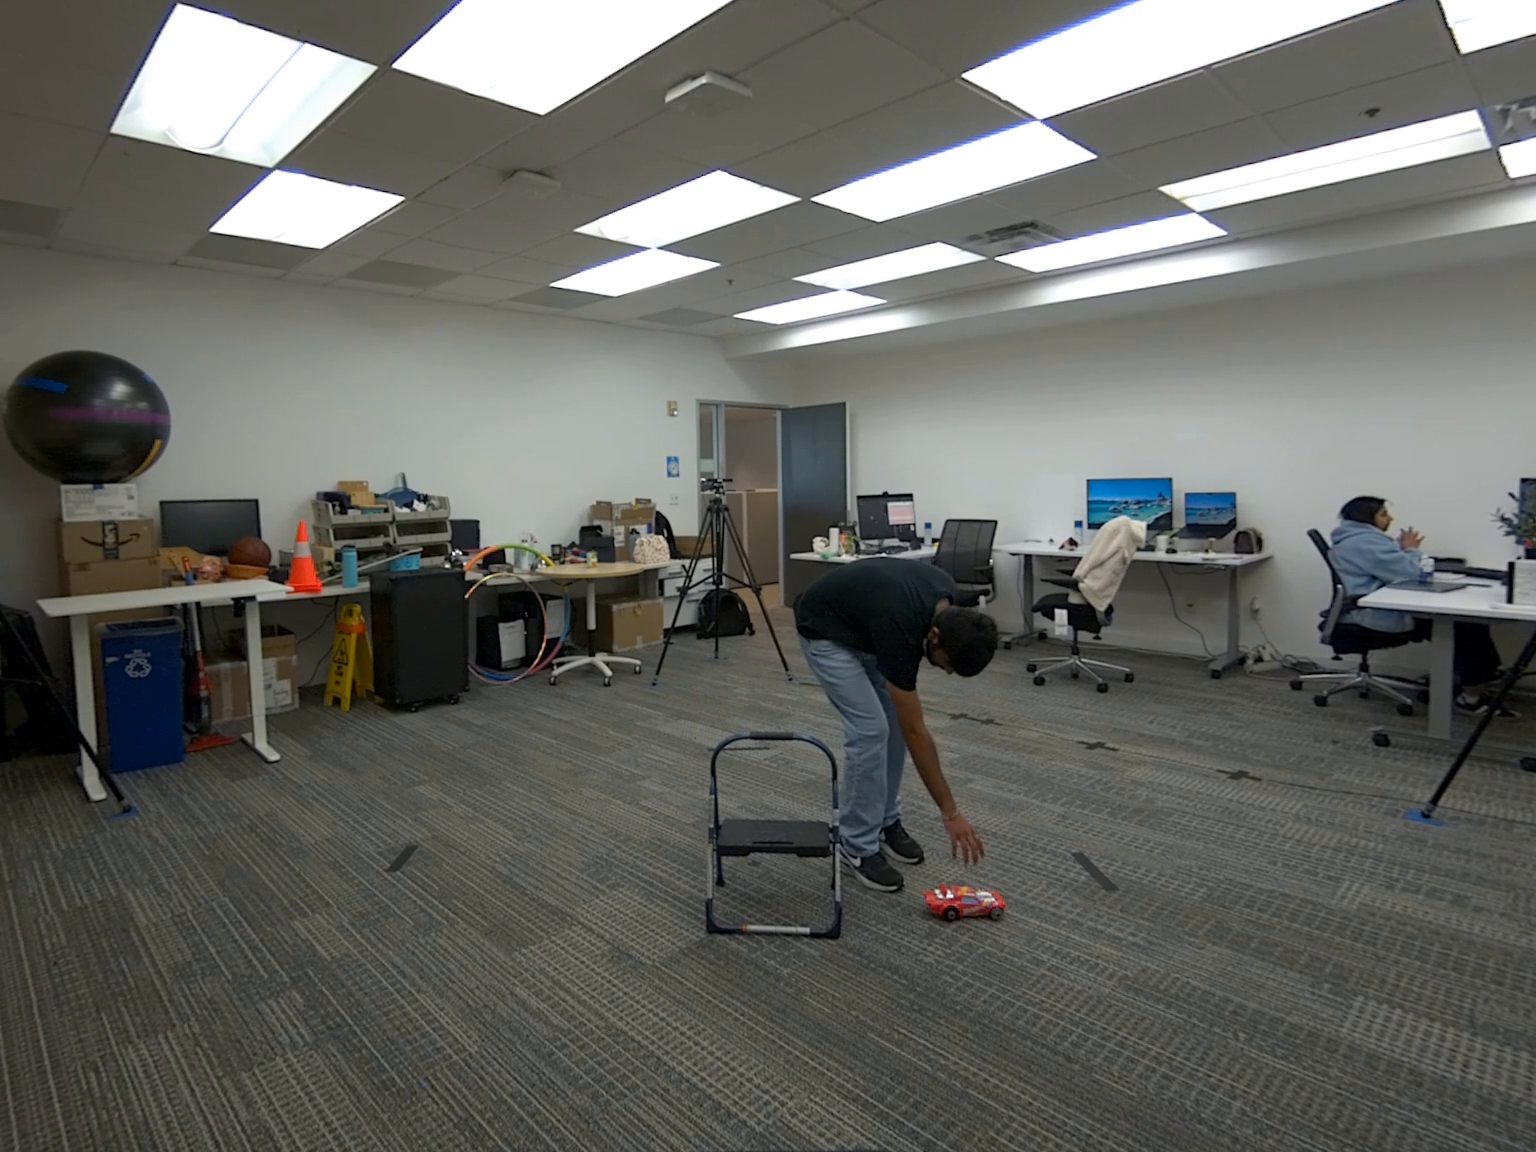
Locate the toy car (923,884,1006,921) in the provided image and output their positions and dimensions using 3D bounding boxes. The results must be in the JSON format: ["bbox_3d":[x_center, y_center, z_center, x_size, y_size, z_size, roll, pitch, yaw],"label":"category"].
[{"bbox_3d":[0.622,1.042,2.720,0.254,0.083,0.131,10,5,-2],"label":"toy car"}]
